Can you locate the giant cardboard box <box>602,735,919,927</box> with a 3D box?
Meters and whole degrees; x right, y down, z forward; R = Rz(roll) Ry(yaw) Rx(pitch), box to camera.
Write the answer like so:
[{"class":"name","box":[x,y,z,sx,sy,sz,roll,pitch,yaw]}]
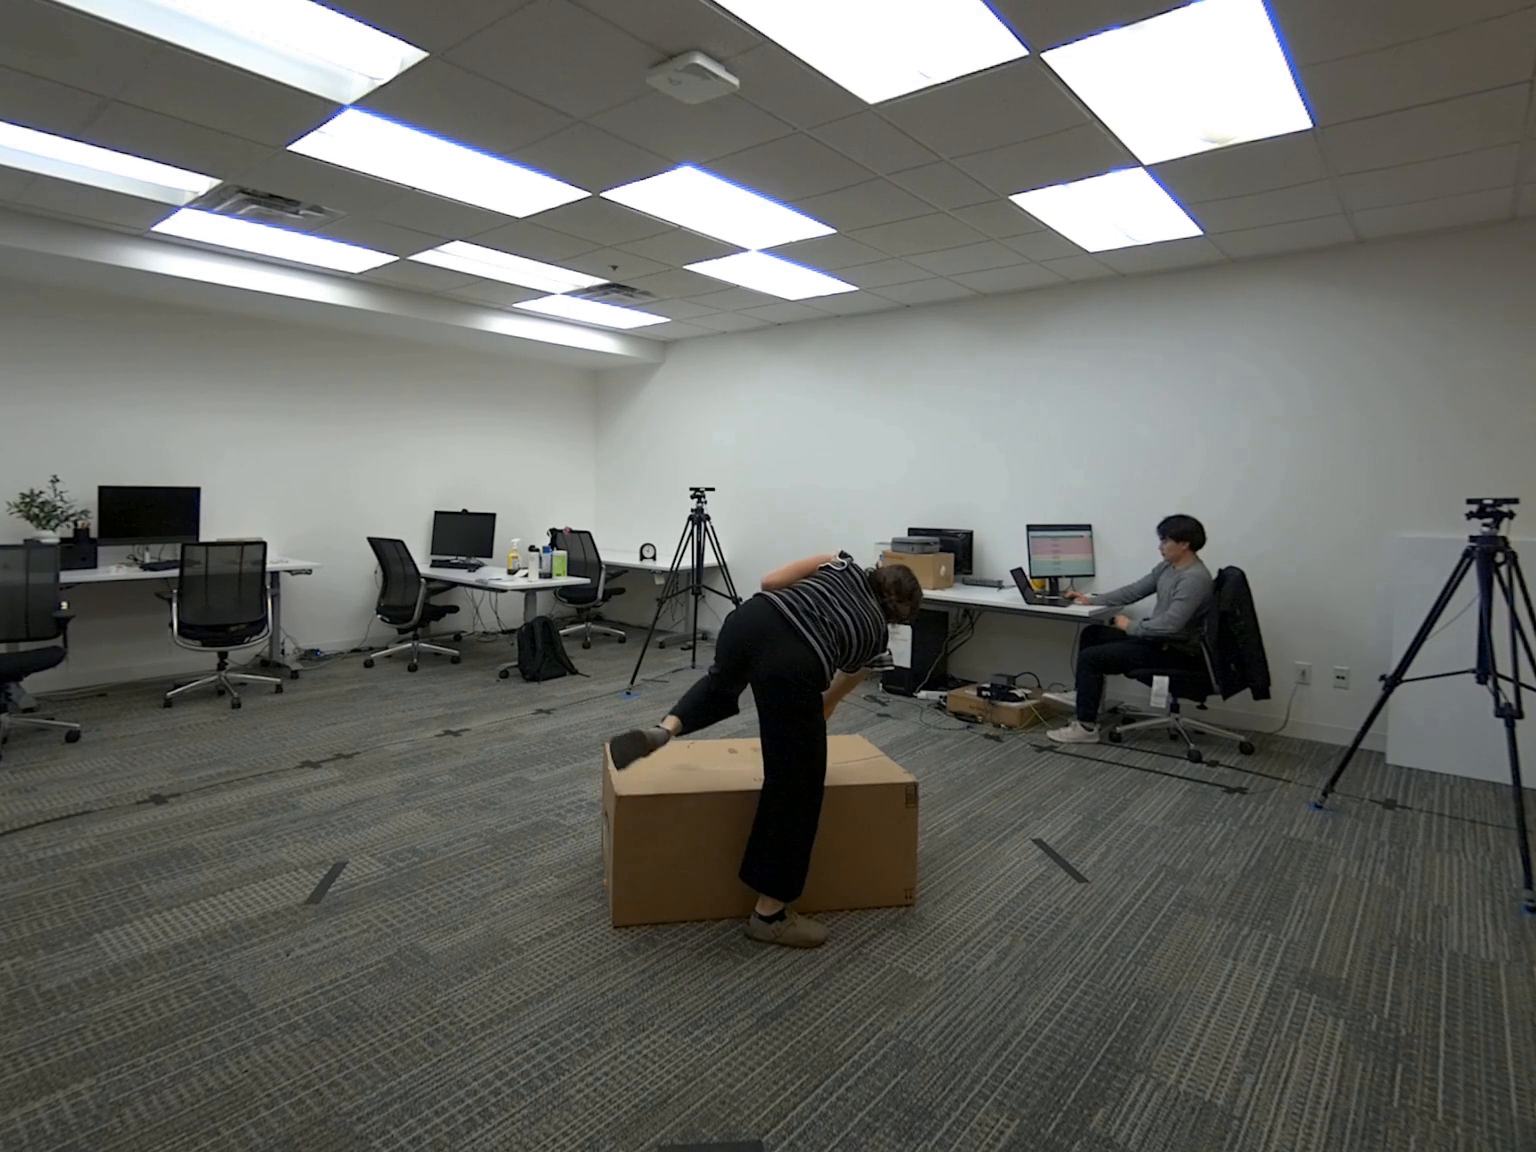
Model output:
[{"class":"giant cardboard box","box":[-0.068,0.867,3.035,1.013,0.425,0.587,0,4,-12]}]
